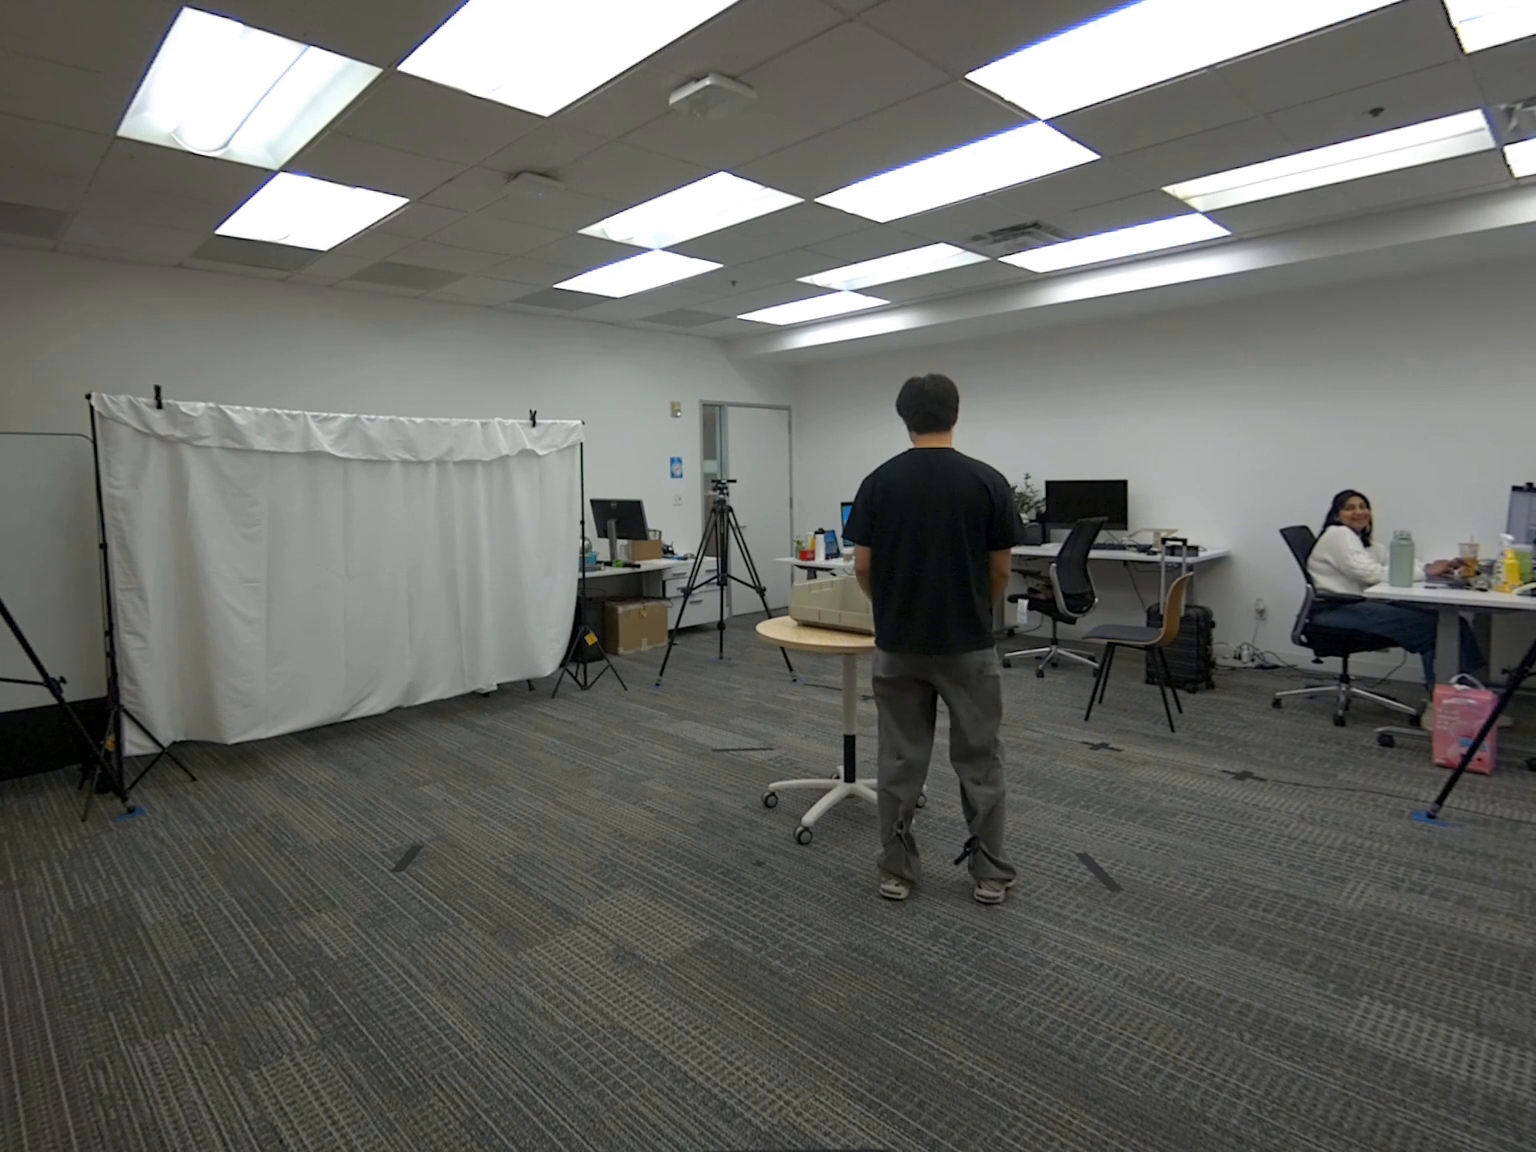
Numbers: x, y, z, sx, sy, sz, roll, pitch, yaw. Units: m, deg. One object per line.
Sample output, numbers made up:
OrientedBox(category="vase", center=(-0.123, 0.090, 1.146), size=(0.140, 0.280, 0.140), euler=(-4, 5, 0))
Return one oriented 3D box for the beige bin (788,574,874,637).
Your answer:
OrientedBox(category="beige bin", center=(0.363, 0.120, 3.530), size=(0.435, 0.188, 0.367), euler=(4, 7, 43))
